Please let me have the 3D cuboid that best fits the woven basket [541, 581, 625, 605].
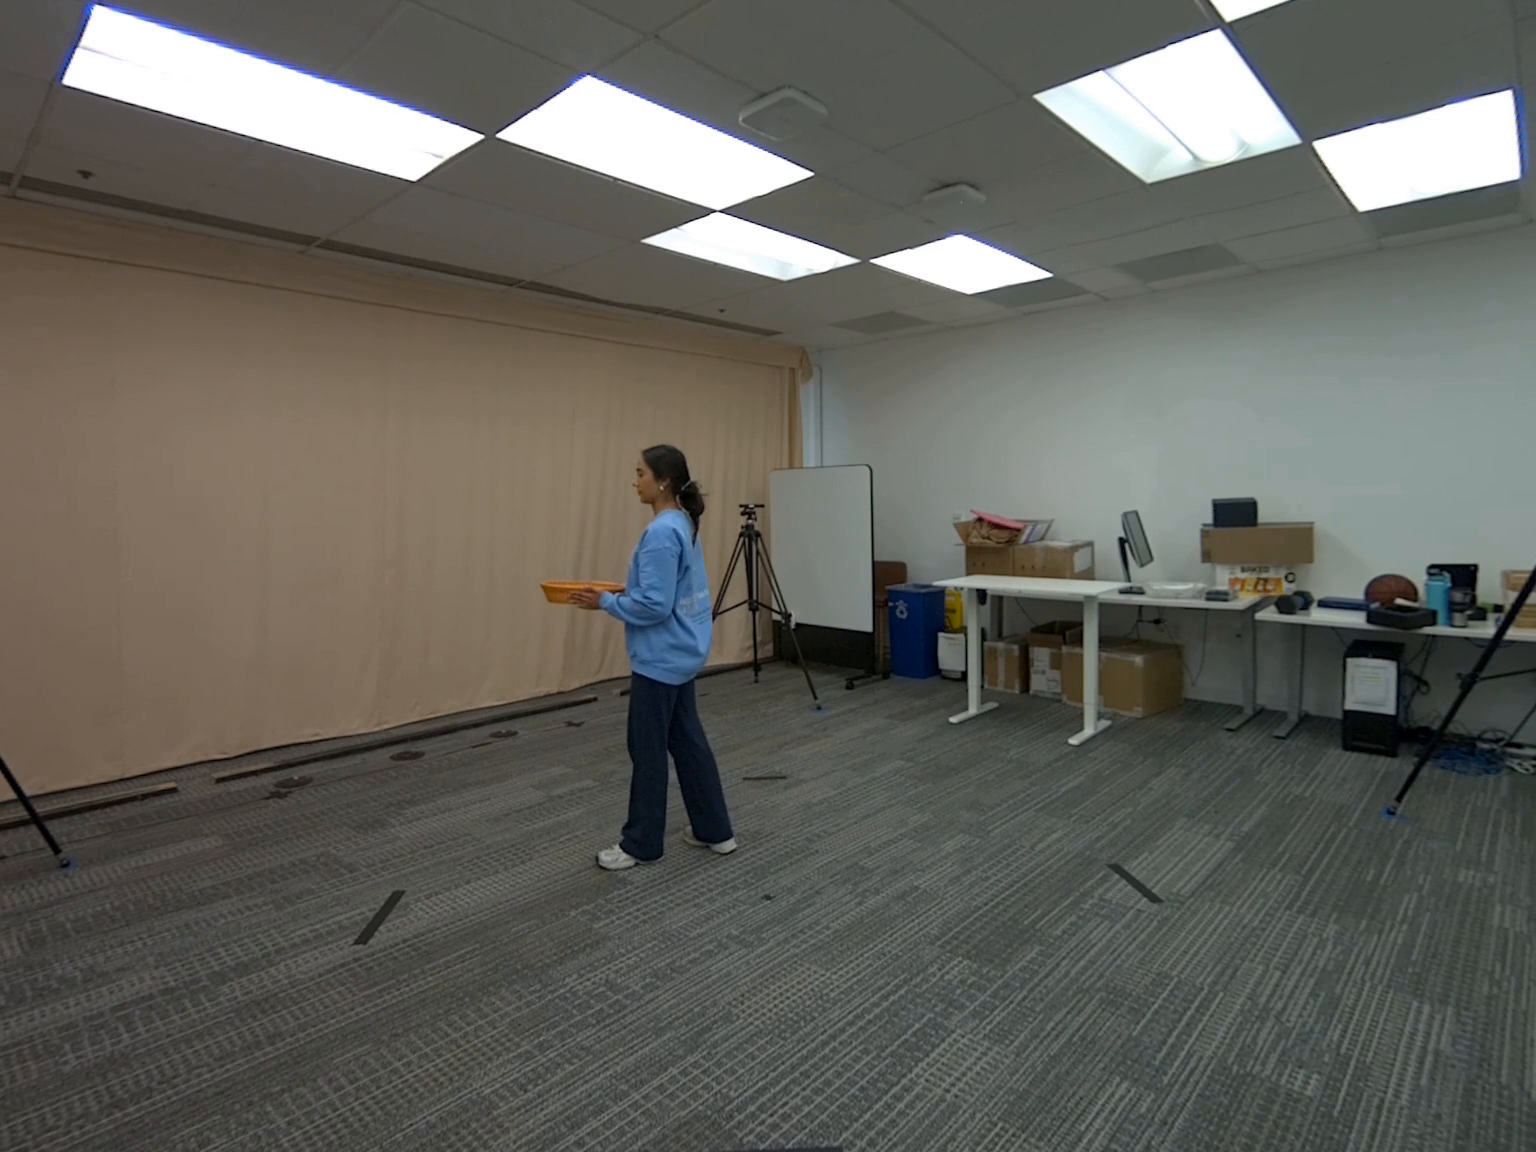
[{"bbox_3d":[-0.728,0.075,3.378,0.351,0.073,0.252,3,4,2],"label":"woven basket"}]
